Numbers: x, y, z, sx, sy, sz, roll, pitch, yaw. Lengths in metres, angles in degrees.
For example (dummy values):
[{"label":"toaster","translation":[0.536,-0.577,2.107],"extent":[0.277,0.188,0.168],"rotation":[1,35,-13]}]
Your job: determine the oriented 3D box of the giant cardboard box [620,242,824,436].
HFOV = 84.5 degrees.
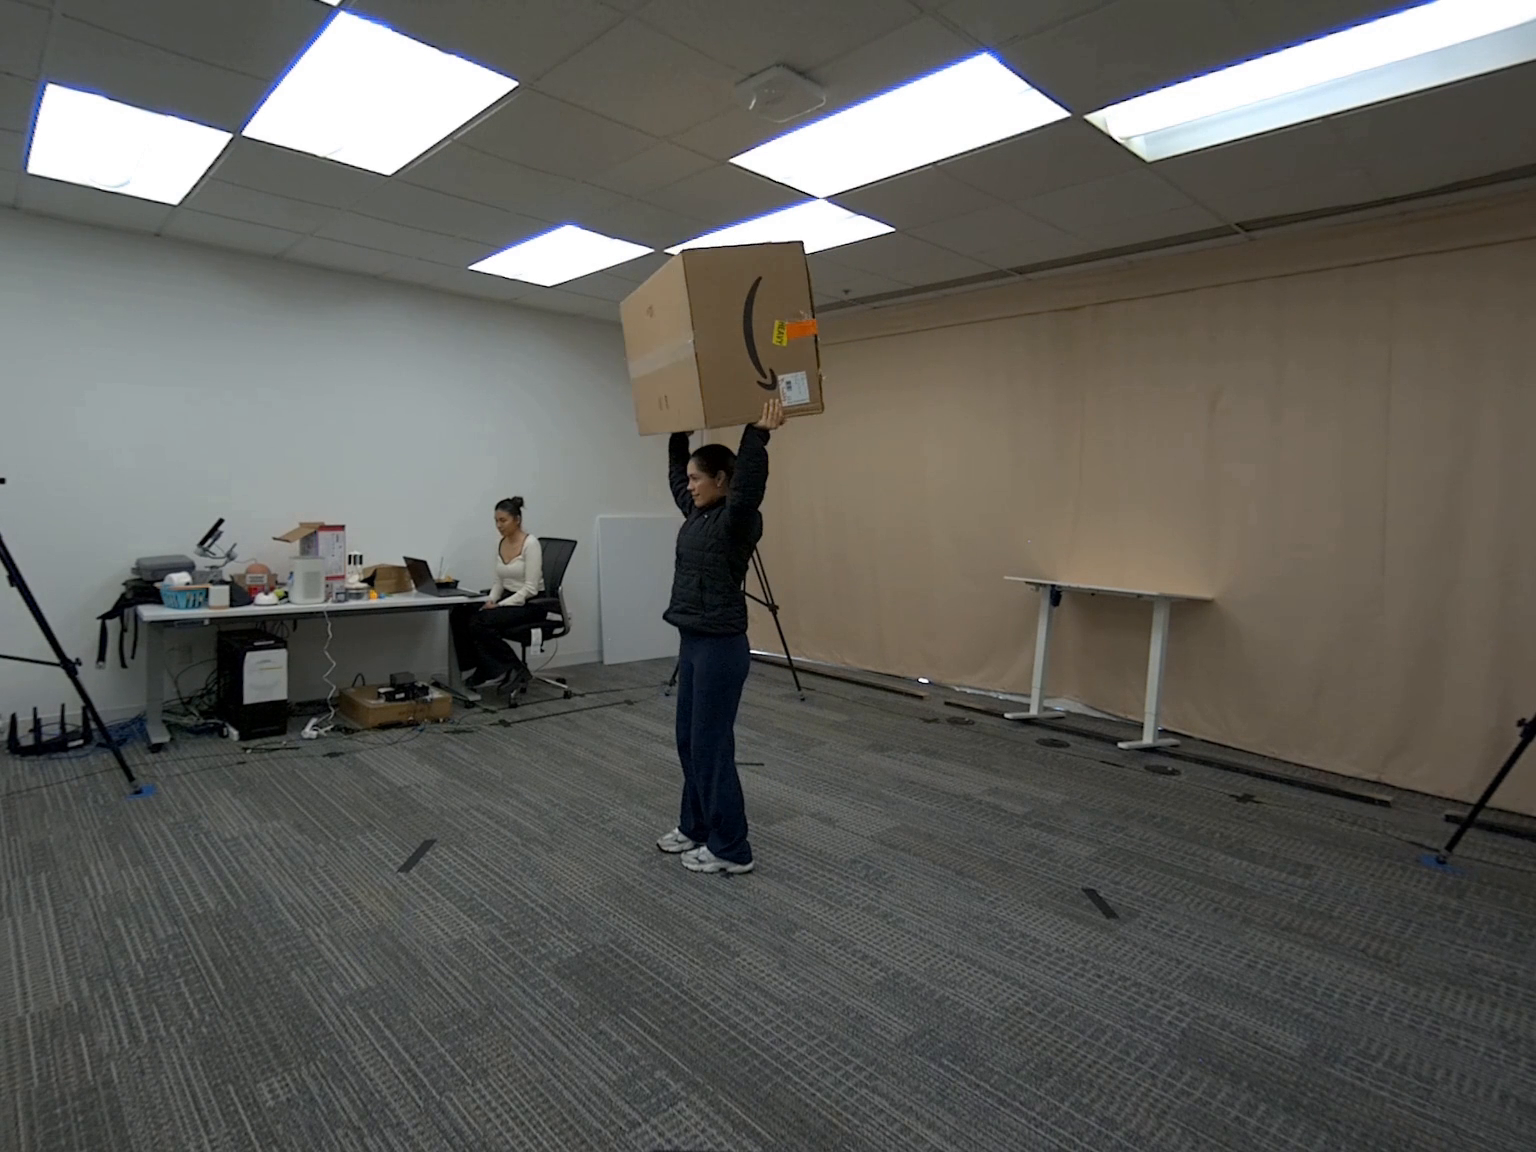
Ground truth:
[{"label":"giant cardboard box","translation":[-0.221,-0.854,3.209],"extent":[0.441,0.579,1.048],"rotation":[-10,11,-20]}]
